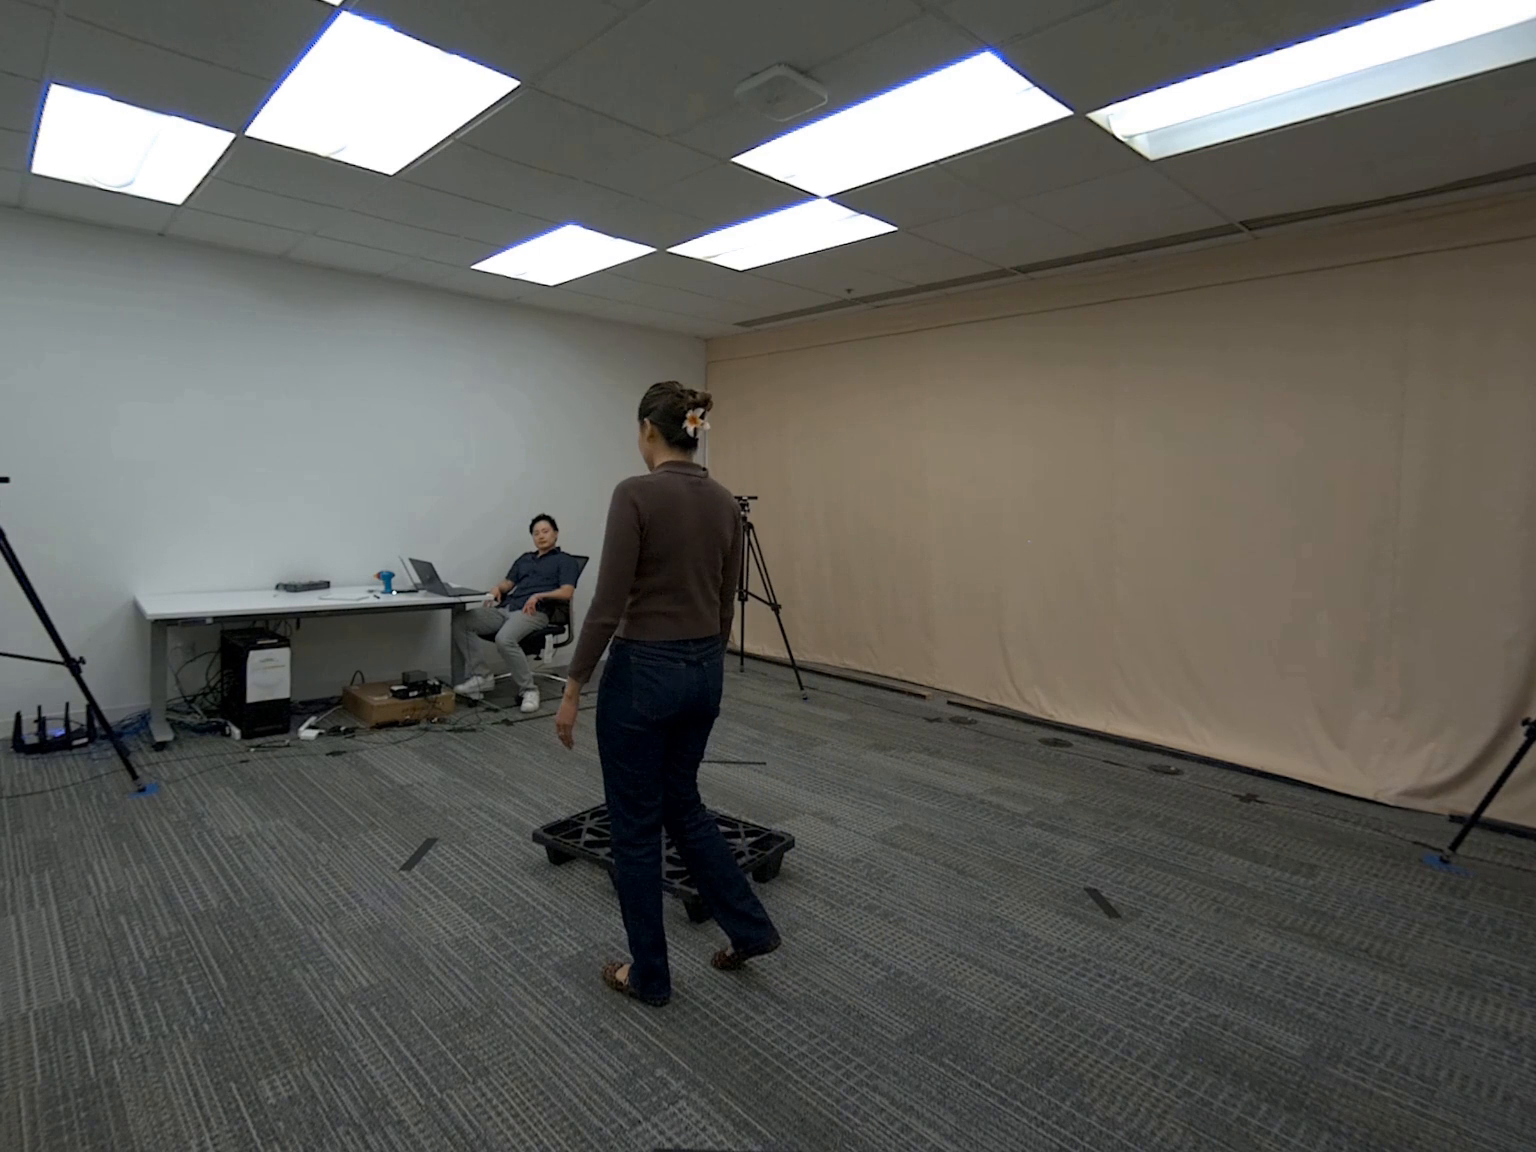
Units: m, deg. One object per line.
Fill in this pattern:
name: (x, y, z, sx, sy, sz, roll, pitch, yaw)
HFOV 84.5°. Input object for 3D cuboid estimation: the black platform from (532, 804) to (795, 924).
black platform: (-0.397, 1.026, 3.140, 0.825, 0.143, 0.592, 5, 6, 35)
